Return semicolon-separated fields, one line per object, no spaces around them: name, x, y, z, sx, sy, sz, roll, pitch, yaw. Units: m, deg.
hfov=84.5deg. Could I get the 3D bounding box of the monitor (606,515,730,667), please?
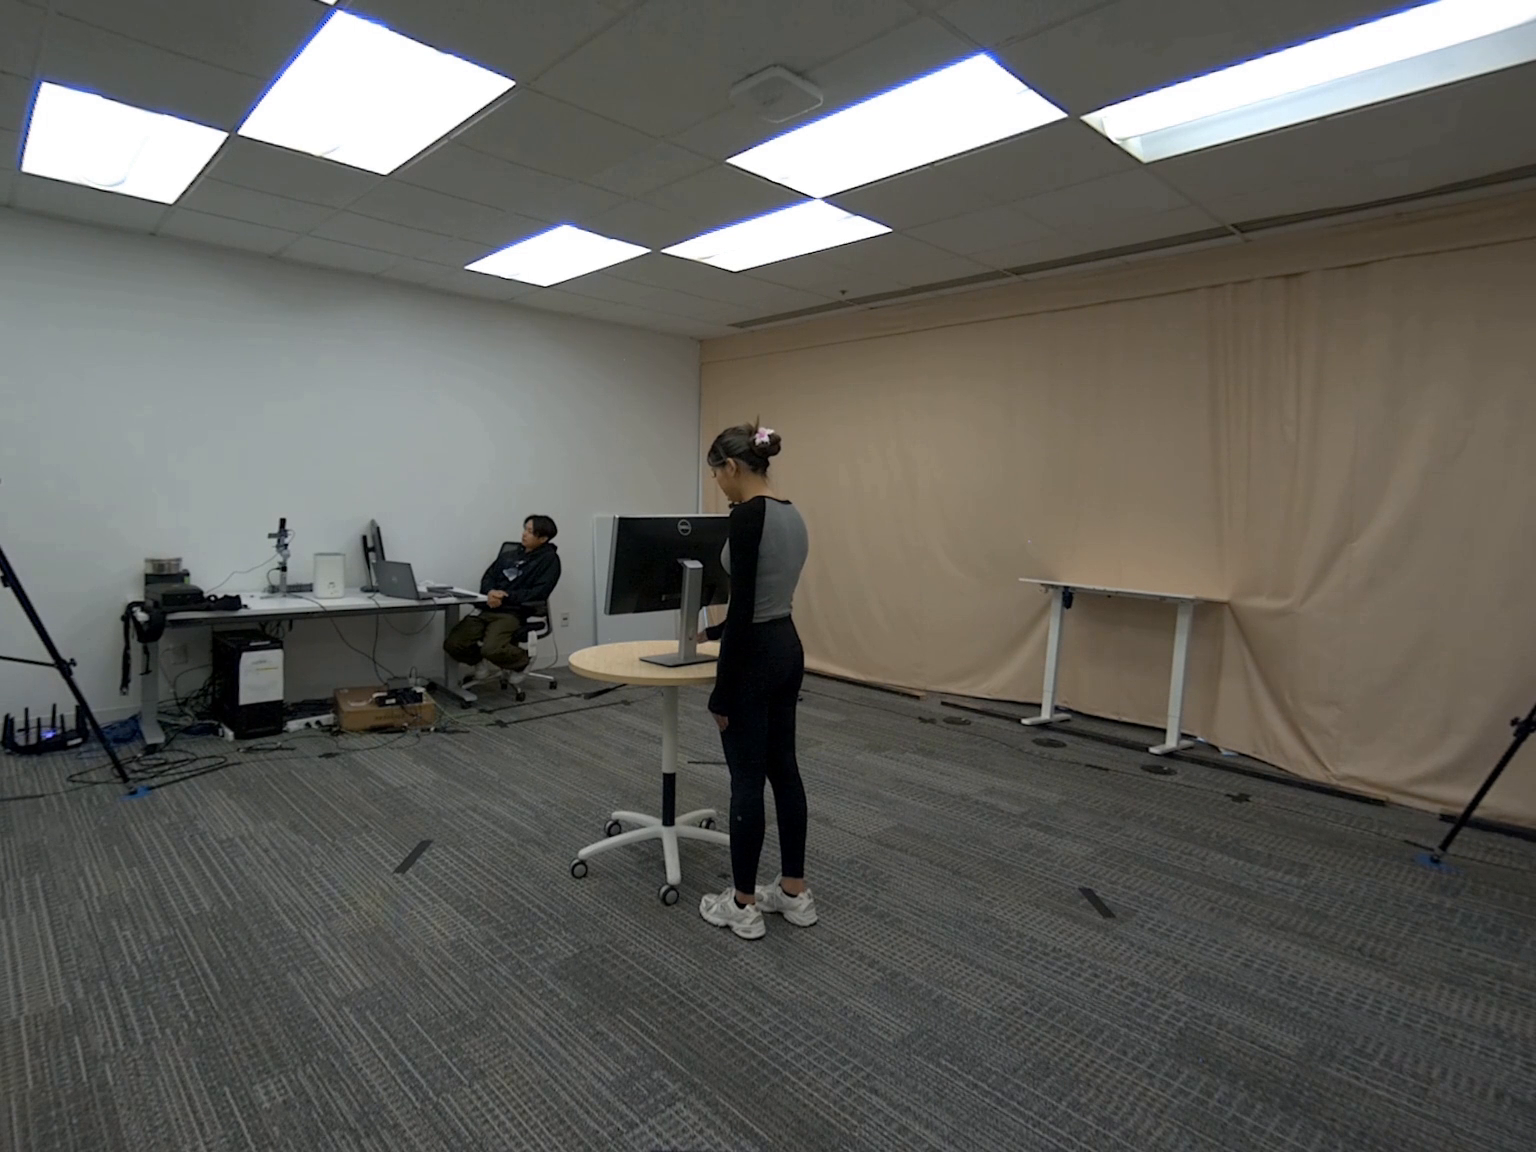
monitor;-0.326;0.048;3.109;0.527;0.522;0.191;-3;3;-44
